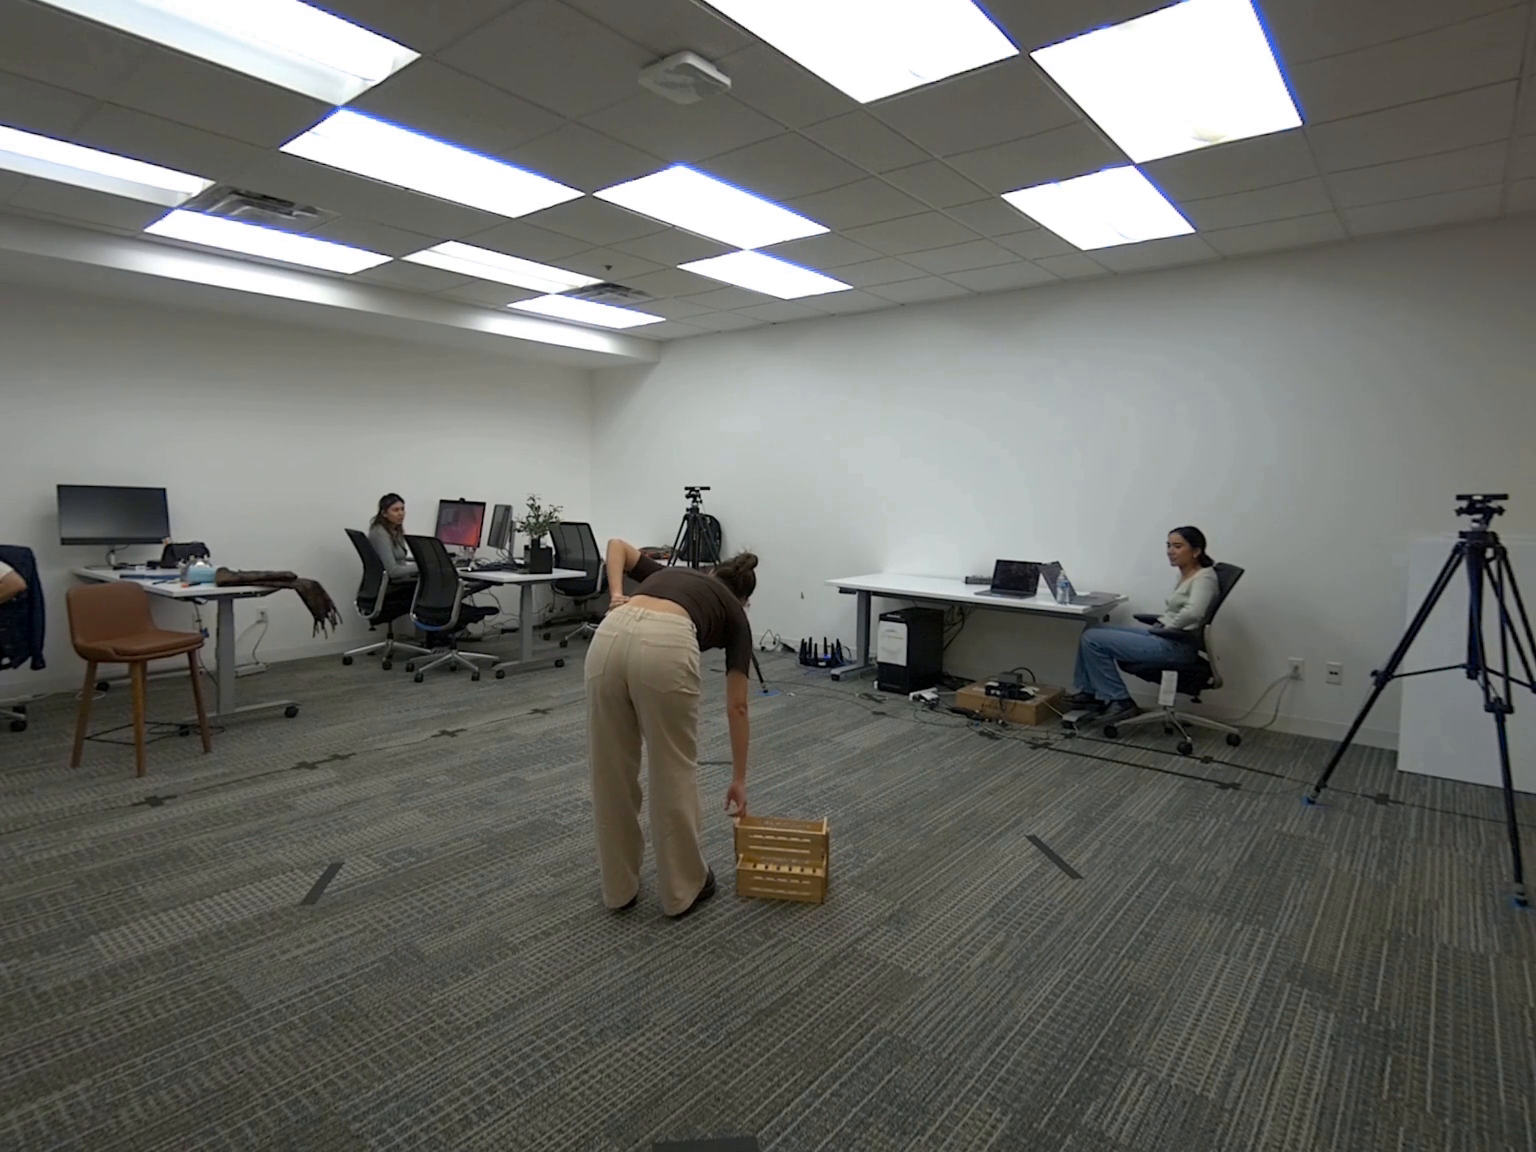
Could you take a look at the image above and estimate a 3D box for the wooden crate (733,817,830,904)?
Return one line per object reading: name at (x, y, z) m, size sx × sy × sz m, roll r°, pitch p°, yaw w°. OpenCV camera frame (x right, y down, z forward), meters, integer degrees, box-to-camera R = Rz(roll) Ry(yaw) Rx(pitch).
wooden crate at (0.048, 0.954, 2.979) m, size 0.327 × 0.273 × 0.300 m, roll 2°, pitch 3°, yaw 6°
